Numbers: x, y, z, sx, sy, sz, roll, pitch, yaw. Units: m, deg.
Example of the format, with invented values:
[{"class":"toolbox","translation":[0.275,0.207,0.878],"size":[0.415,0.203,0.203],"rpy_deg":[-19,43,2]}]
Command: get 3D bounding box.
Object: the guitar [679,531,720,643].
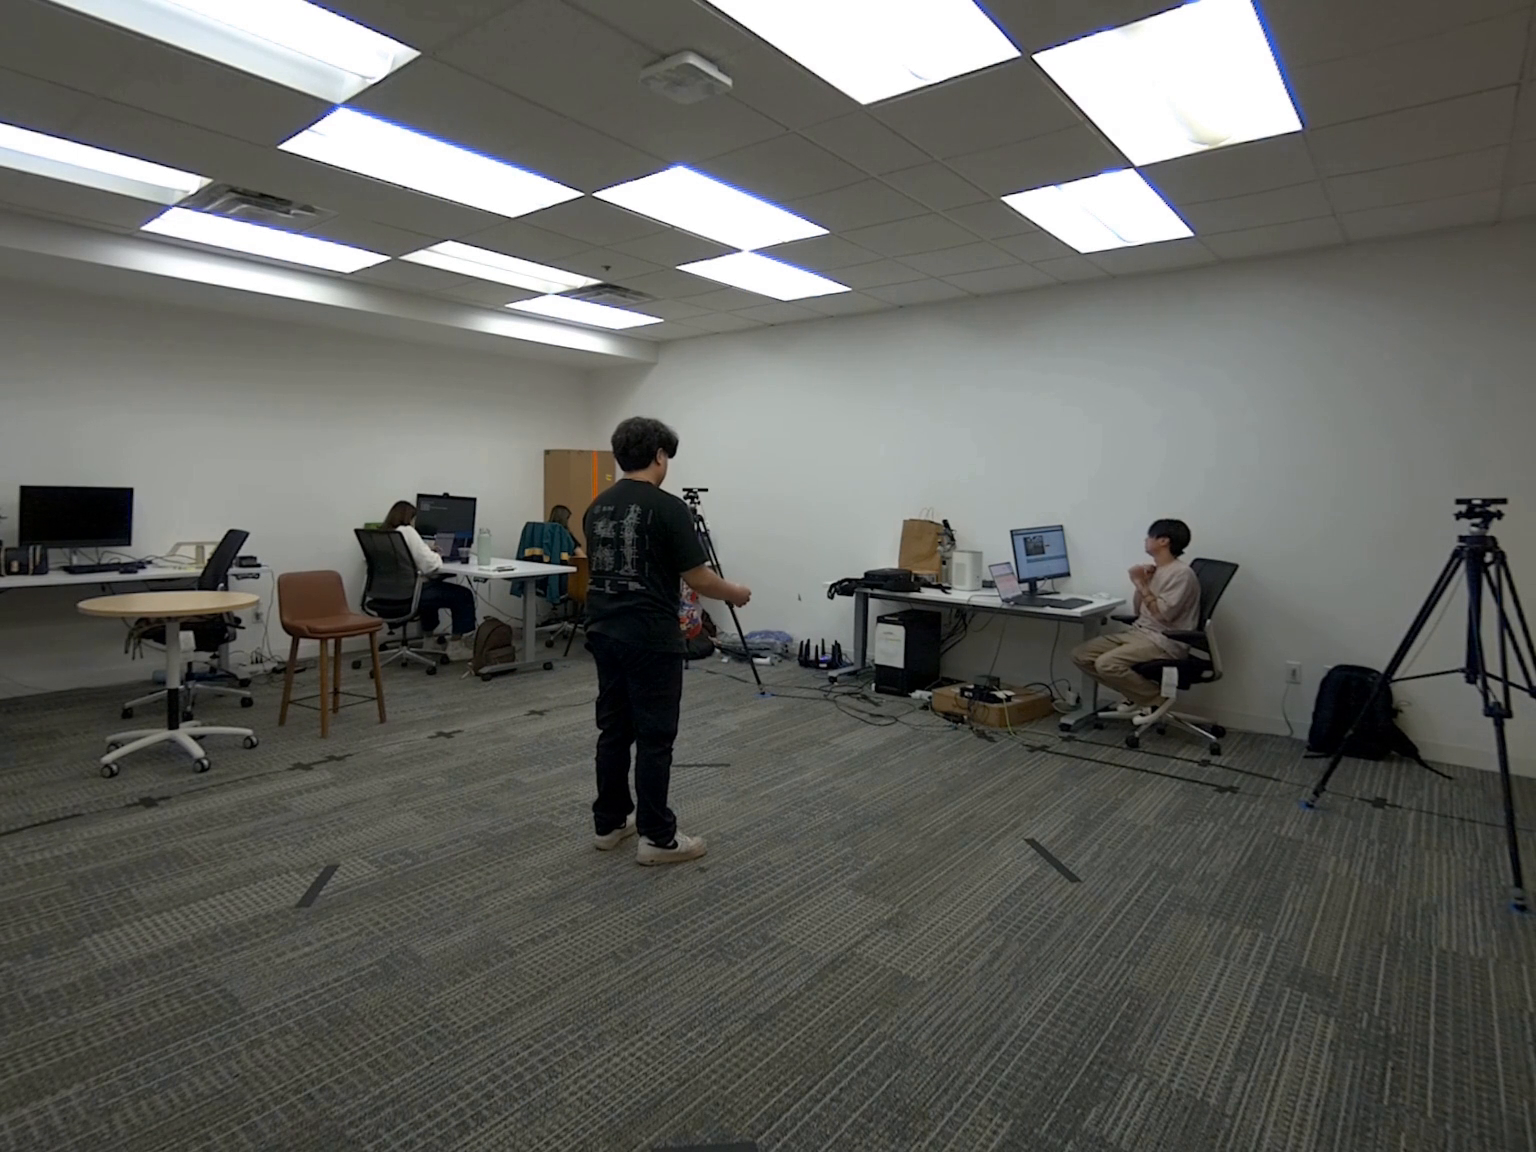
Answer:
[{"class":"guitar","translation":[-0.357,0.033,3.603],"size":[0.196,0.507,0.068],"rpy_deg":[4,-32,12]}]
